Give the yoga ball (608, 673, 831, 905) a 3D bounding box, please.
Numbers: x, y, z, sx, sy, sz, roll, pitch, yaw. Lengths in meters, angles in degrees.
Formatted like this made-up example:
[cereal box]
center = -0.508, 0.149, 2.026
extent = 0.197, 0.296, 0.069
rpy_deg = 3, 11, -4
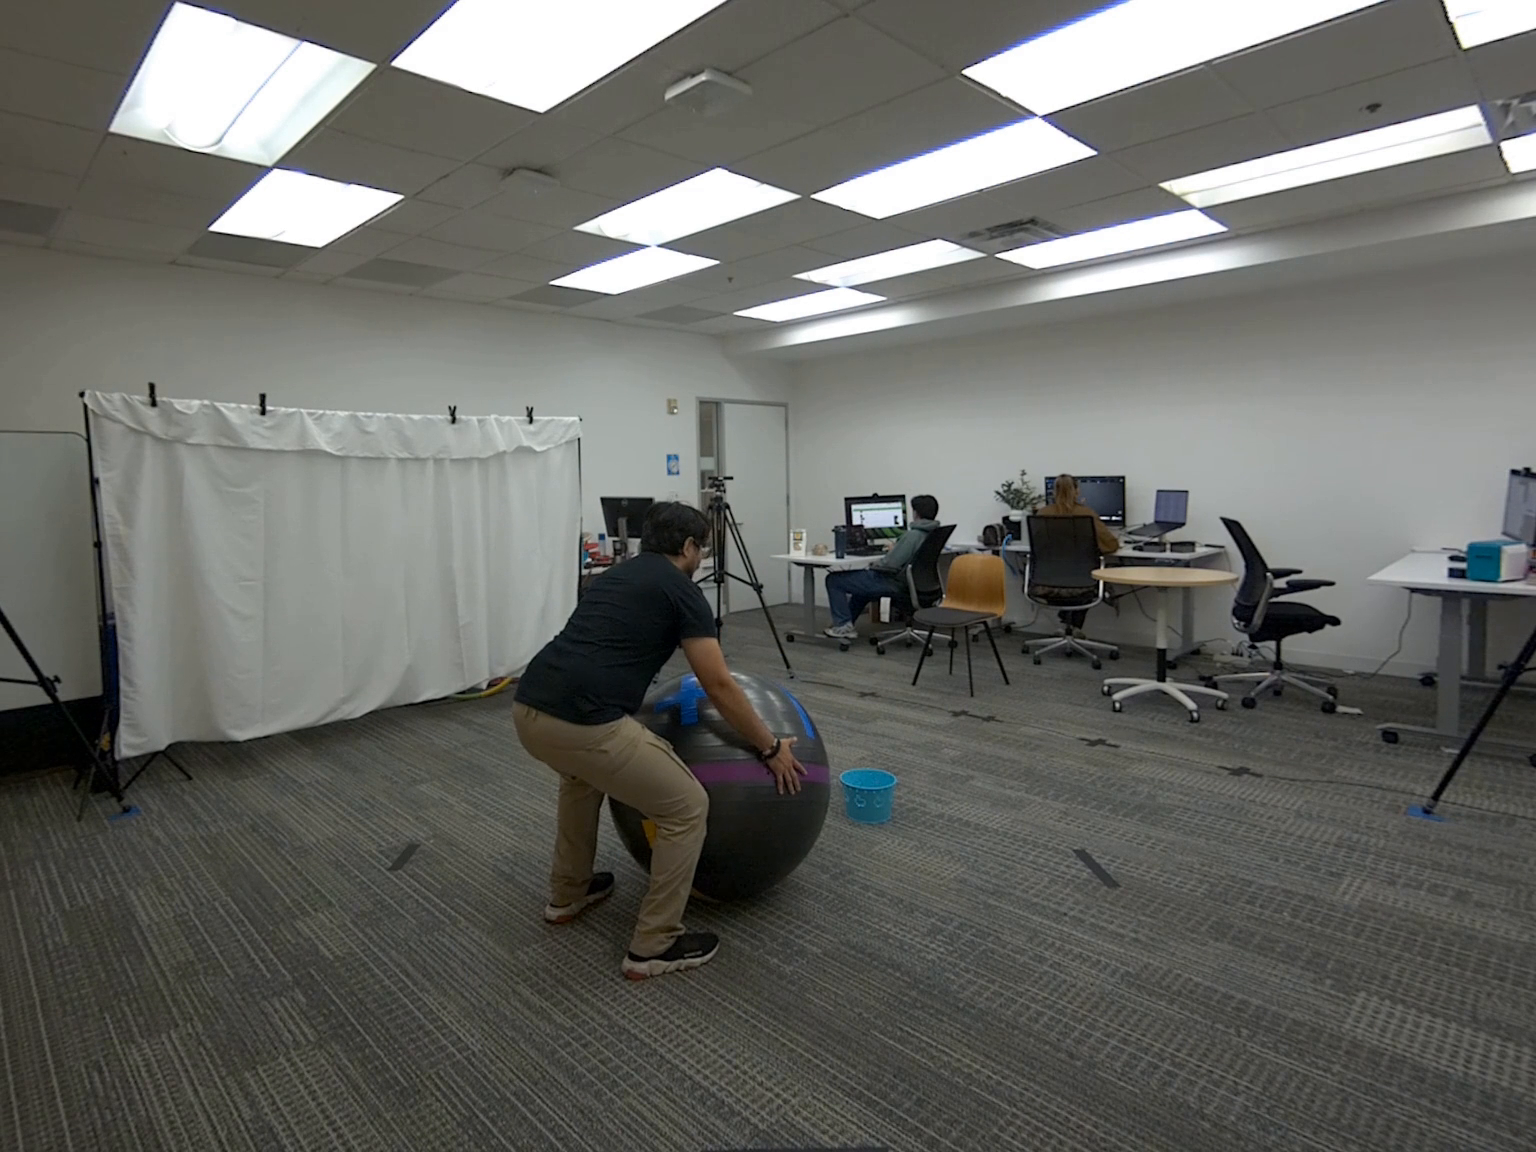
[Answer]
[yoga ball]
center = -0.165, 0.696, 2.919
extent = 0.757, 0.755, 0.762
rpy_deg = -1, 5, -2
